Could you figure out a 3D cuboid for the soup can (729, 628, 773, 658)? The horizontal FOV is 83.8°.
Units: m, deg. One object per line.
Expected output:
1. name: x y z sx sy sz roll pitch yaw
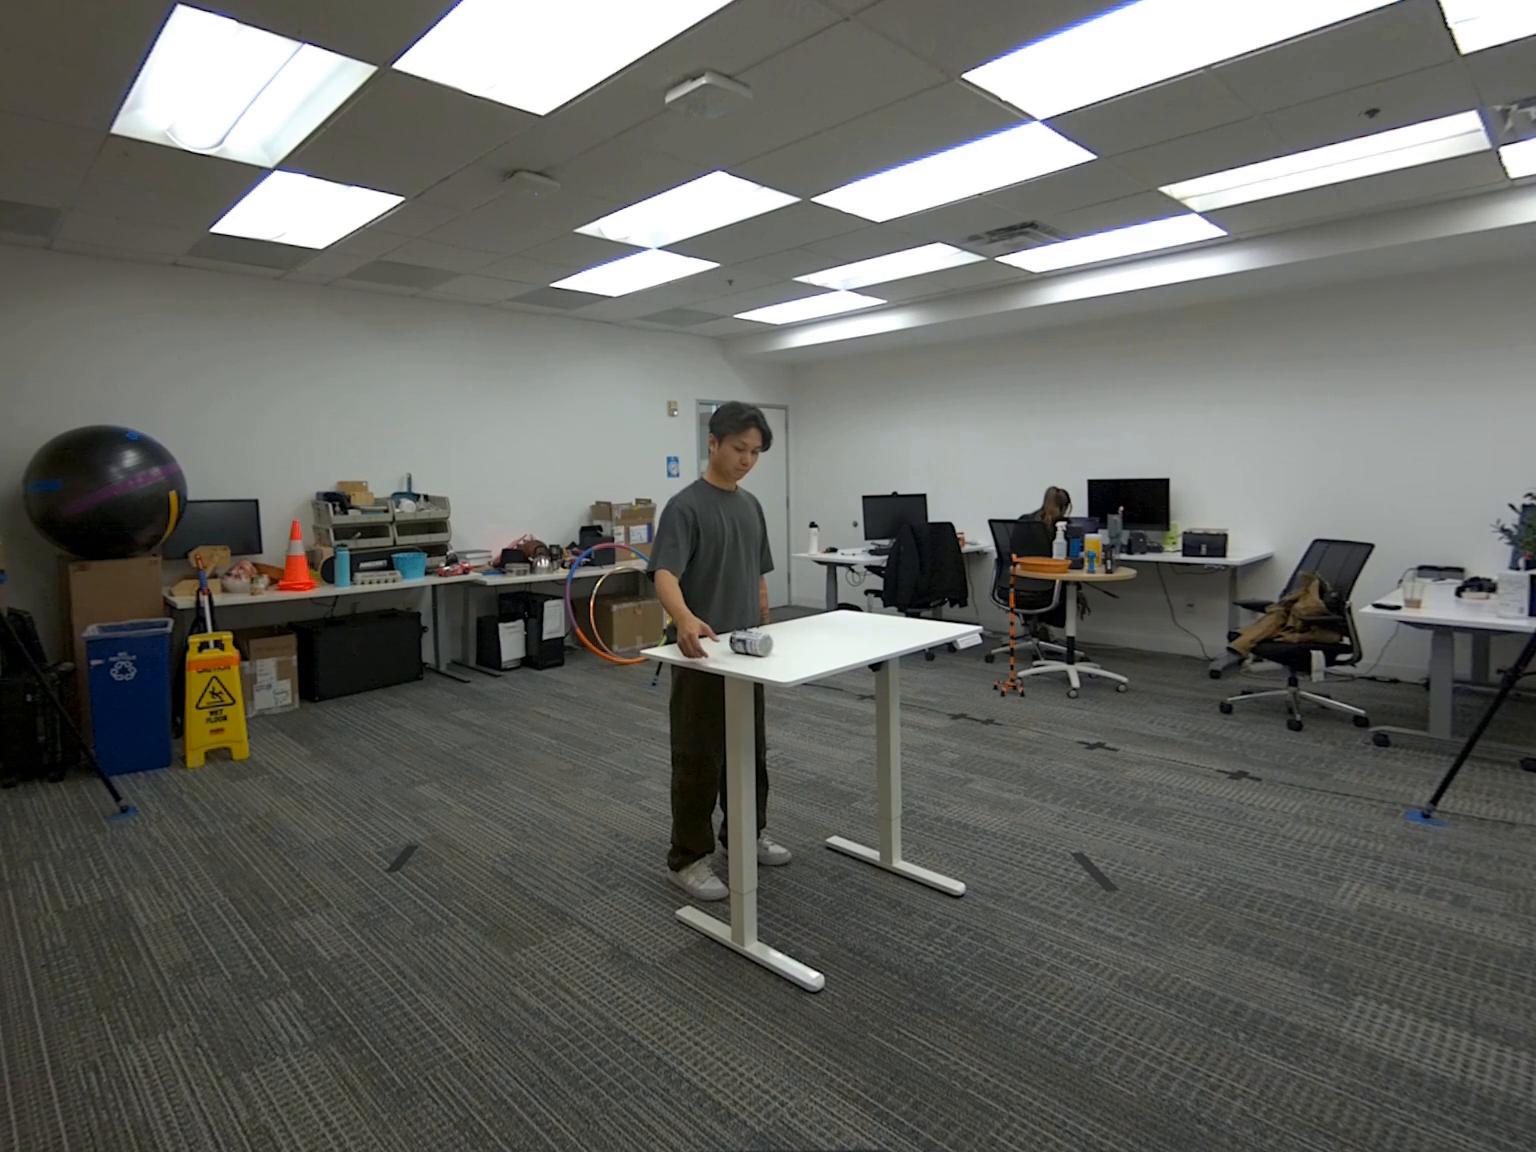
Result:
1. soup can: -0.049 0.199 2.522 0.125 0.067 0.065 3 6 42
